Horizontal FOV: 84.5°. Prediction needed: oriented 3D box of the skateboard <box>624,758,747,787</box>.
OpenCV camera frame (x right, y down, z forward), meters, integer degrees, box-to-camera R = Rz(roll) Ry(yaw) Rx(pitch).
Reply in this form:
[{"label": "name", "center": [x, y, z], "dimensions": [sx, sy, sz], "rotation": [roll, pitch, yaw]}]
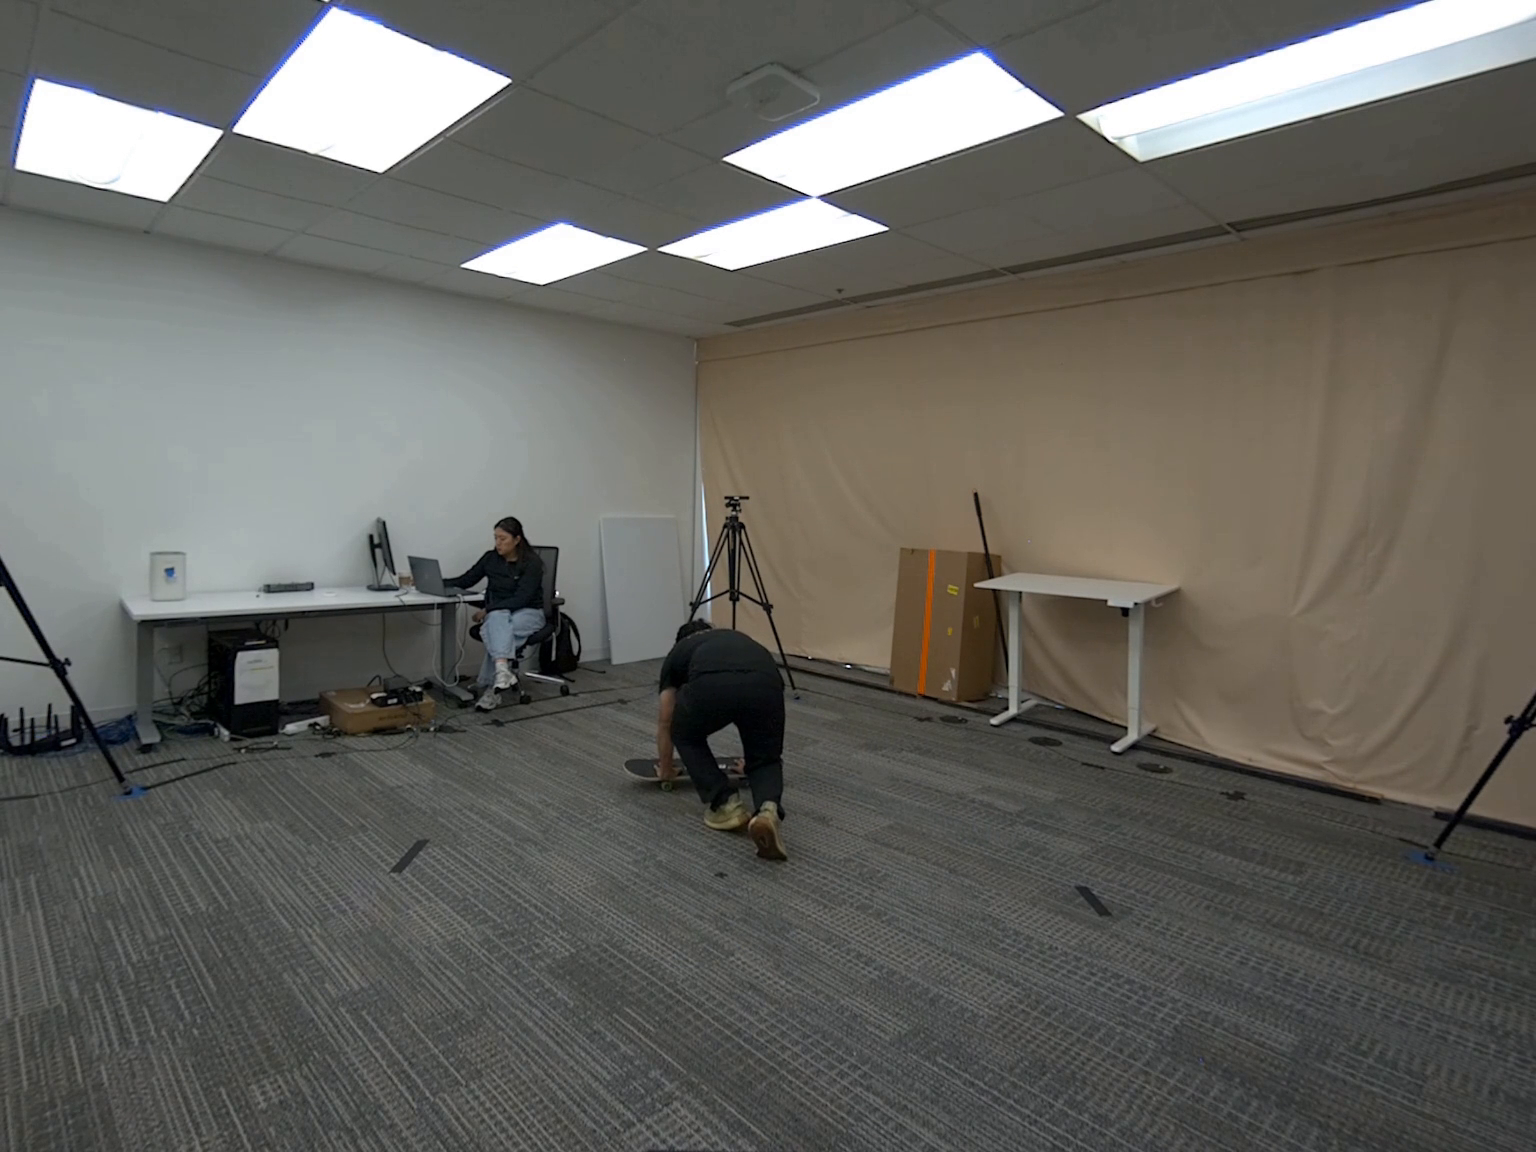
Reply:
[{"label": "skateboard", "center": [-0.321, 0.961, 4.103], "dimensions": [0.778, 0.109, 0.197], "rotation": [1, 12, -11]}]
